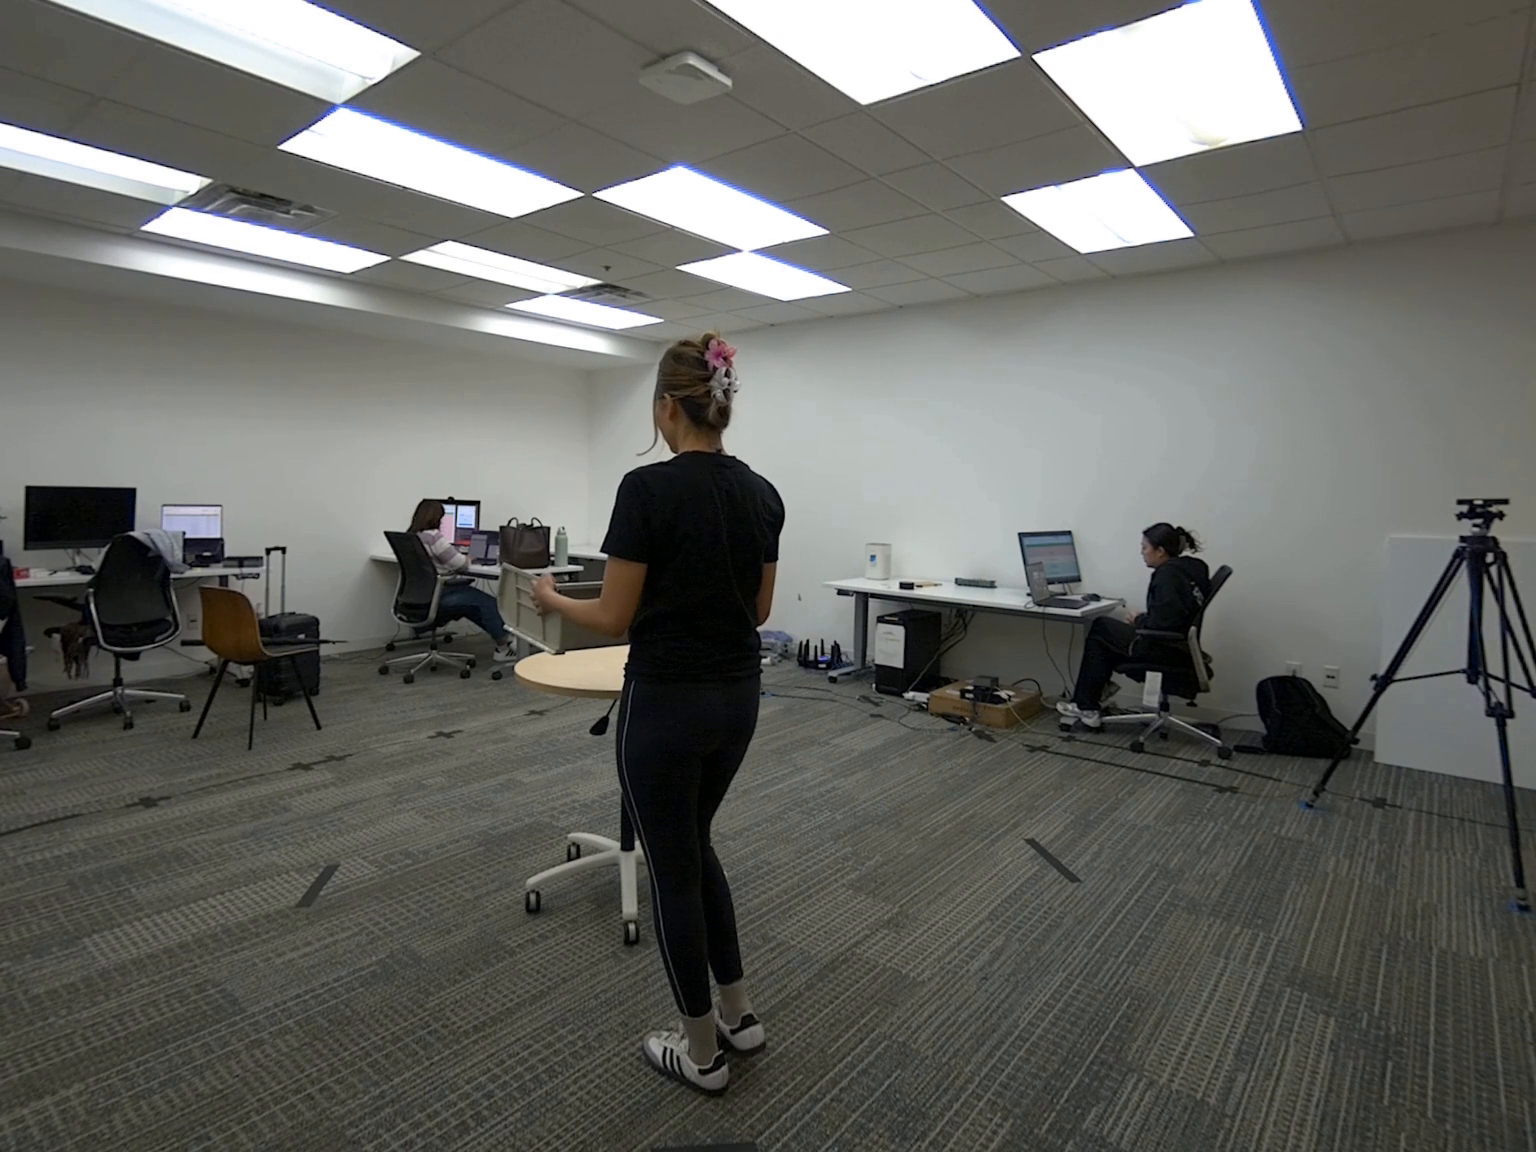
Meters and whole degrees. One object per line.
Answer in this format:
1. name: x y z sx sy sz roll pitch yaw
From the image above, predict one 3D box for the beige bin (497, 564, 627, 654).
1. beige bin: -0.482 0.071 2.337 0.410 0.187 0.392 -3 12 -39
